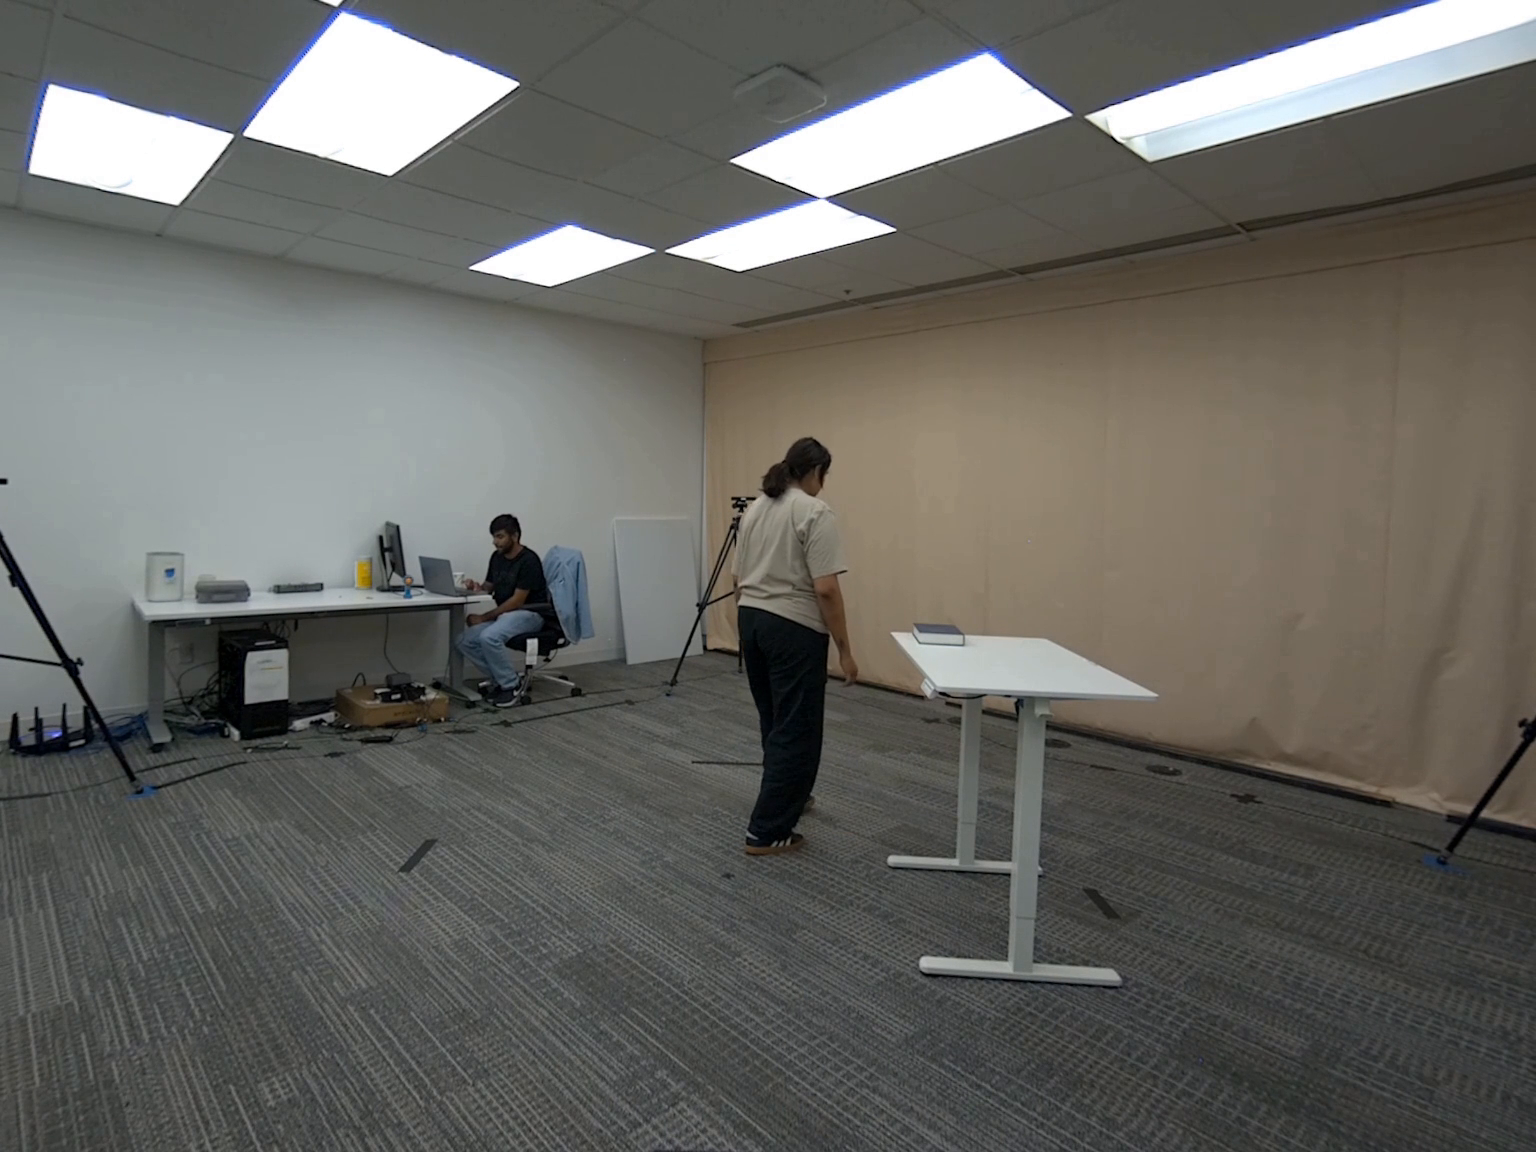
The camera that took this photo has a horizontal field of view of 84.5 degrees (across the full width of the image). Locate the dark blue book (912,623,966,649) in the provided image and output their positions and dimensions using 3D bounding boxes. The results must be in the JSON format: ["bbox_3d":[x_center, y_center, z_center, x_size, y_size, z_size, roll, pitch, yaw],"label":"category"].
[{"bbox_3d":[0.633,0.220,3.162,0.164,0.045,0.244,3,4,6],"label":"dark blue book"}]
